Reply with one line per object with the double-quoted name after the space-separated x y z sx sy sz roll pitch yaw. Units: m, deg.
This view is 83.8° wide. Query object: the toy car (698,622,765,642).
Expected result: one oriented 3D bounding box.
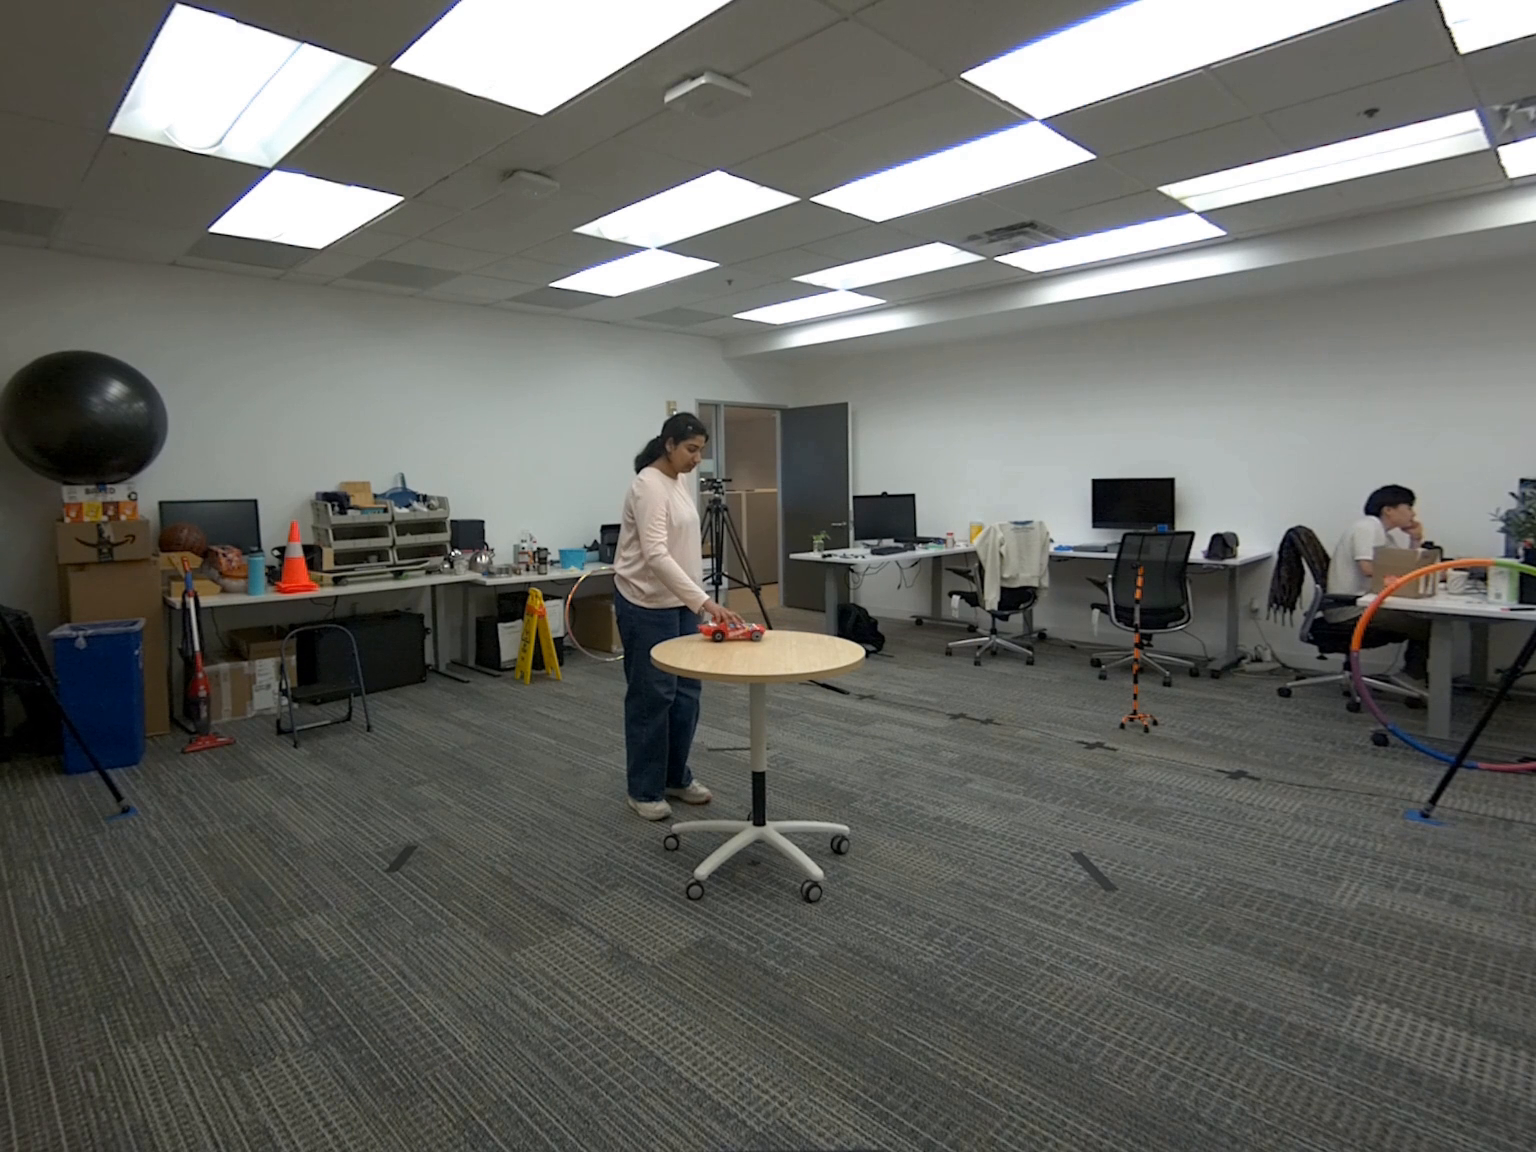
-0.143 0.213 3.252 0.253 0.083 0.131 10 3 -5 "toy car"
